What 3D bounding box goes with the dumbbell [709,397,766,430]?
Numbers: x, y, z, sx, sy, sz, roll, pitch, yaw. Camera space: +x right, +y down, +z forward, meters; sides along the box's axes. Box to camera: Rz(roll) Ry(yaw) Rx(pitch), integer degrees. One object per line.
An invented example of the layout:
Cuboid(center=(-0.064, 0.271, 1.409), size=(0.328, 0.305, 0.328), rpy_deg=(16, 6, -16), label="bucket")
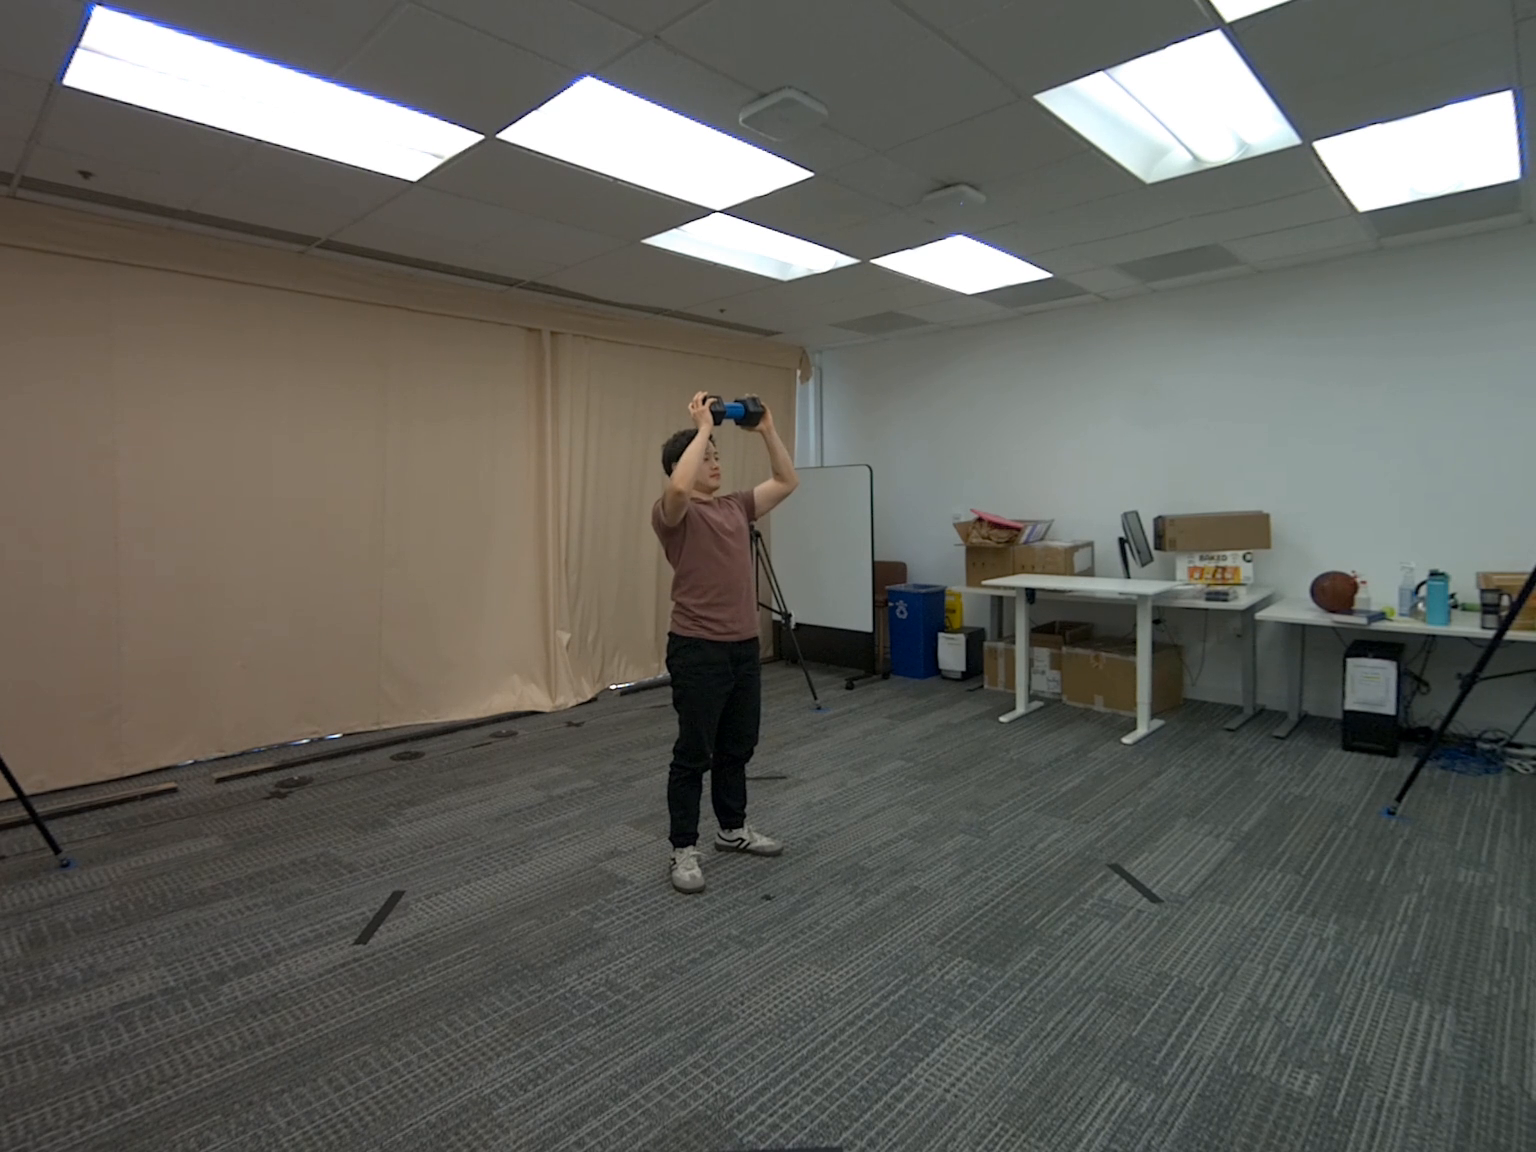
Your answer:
Cuboid(center=(-0.143, -0.606, 3.103), size=(0.285, 0.124, 0.110), rpy_deg=(-12, -16, -46), label="dumbbell")
